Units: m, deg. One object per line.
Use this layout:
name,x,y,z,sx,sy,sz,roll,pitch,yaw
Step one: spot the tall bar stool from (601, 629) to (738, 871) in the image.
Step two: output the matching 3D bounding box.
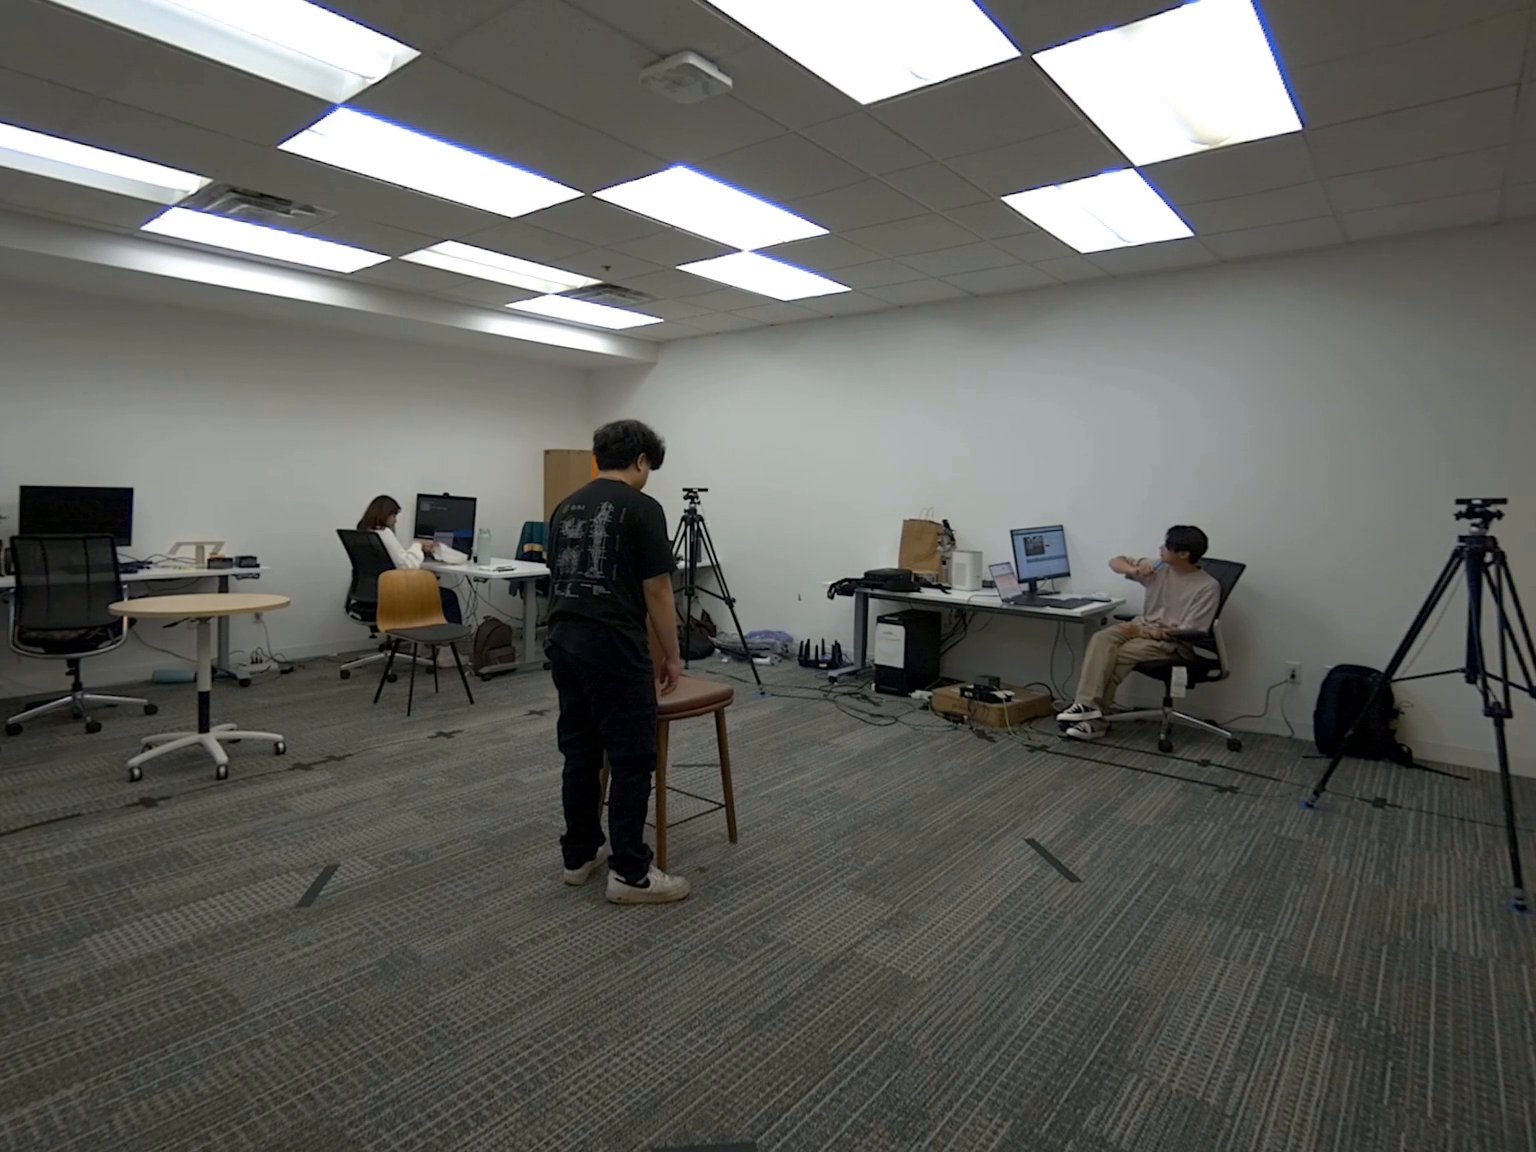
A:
tall bar stool,-0.421,0.609,3.357,0.483,0.889,0.442,1,2,43
